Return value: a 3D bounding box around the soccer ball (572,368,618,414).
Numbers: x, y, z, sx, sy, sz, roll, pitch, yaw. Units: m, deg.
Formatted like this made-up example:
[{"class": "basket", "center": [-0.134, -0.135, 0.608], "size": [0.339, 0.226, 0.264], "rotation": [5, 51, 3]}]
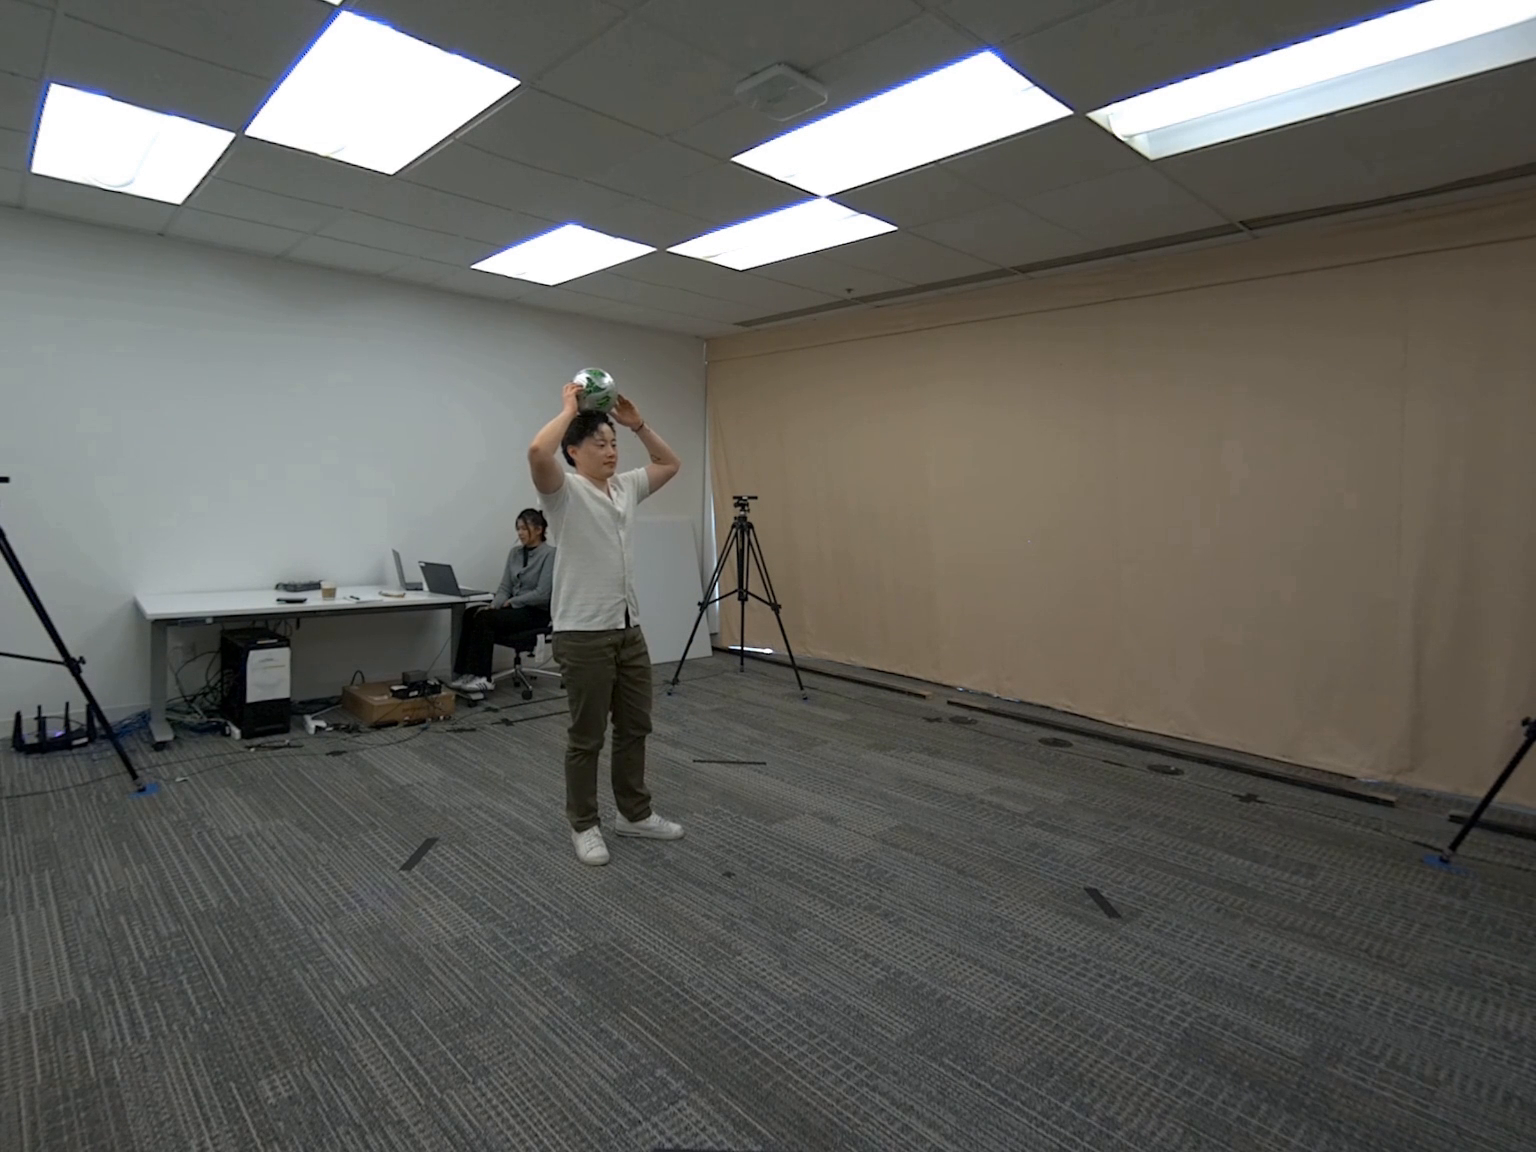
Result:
[{"class": "soccer ball", "center": [-0.680, -0.694, 3.199], "size": [0.187, 0.187, 0.188], "rotation": [1, 4, -1]}]
